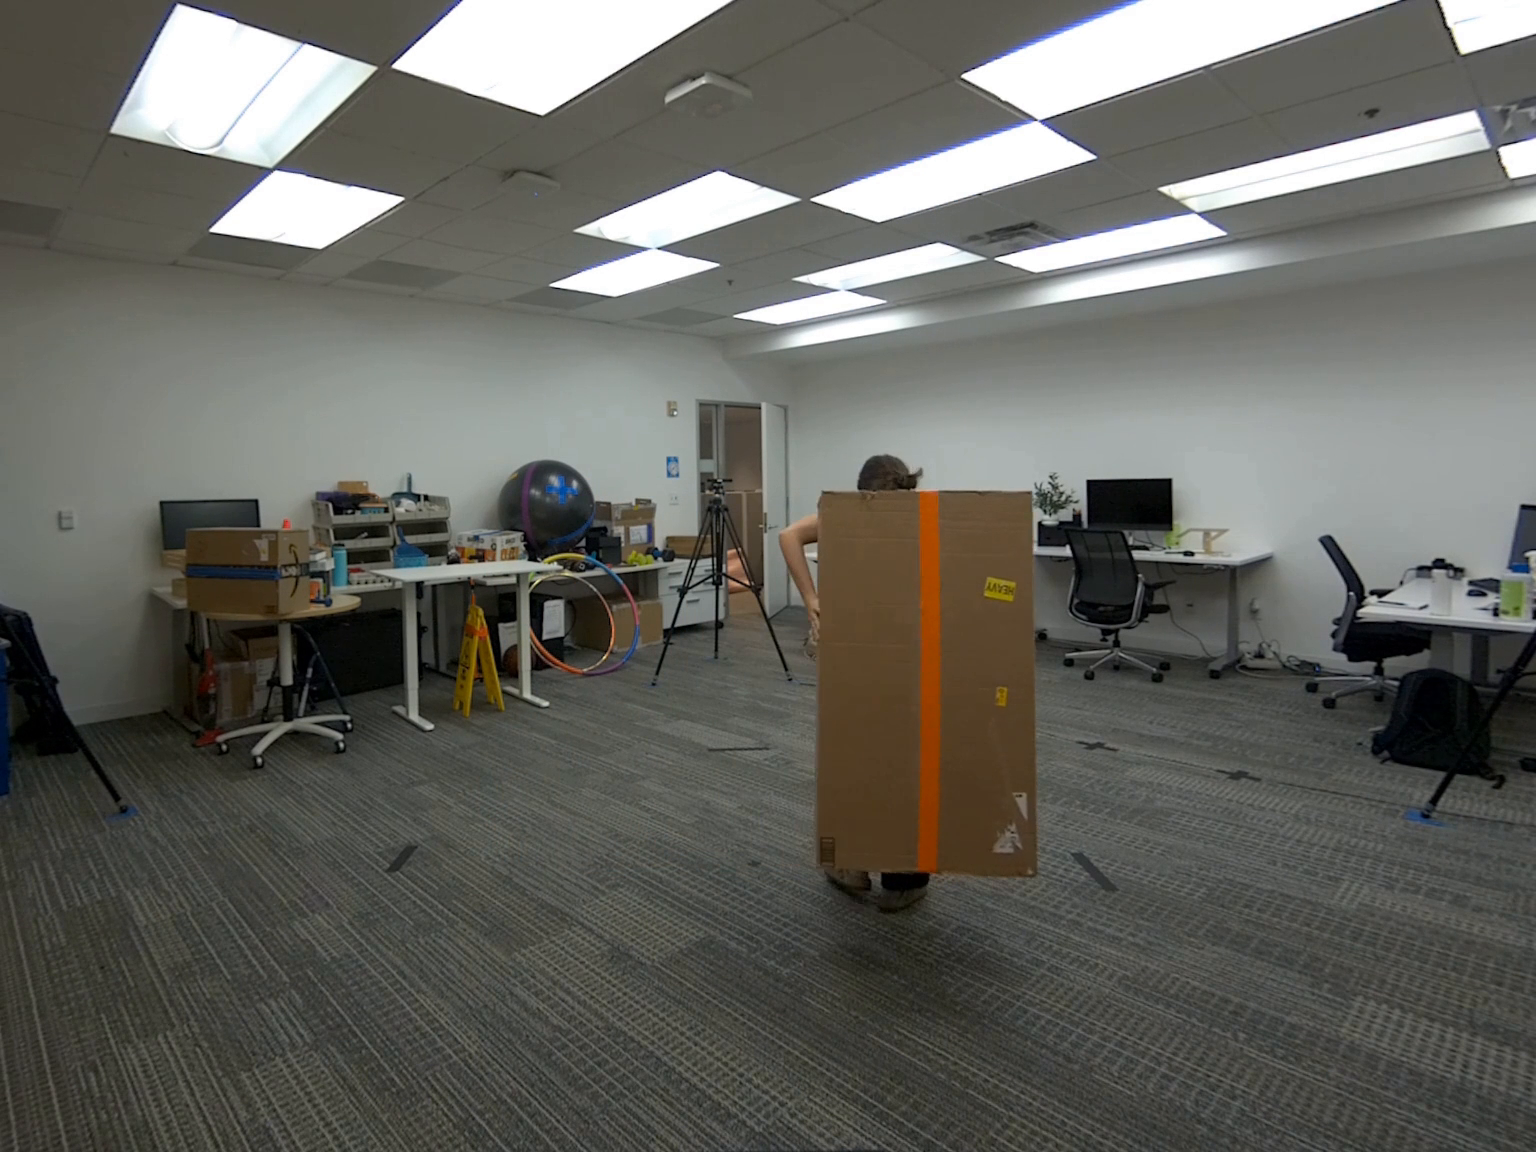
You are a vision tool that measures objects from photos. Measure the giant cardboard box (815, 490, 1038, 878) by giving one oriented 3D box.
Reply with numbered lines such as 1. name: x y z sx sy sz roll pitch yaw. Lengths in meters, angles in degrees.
1. giant cardboard box: 0.433 0.286 2.498 0.580 1.029 0.423 0 -4 4
